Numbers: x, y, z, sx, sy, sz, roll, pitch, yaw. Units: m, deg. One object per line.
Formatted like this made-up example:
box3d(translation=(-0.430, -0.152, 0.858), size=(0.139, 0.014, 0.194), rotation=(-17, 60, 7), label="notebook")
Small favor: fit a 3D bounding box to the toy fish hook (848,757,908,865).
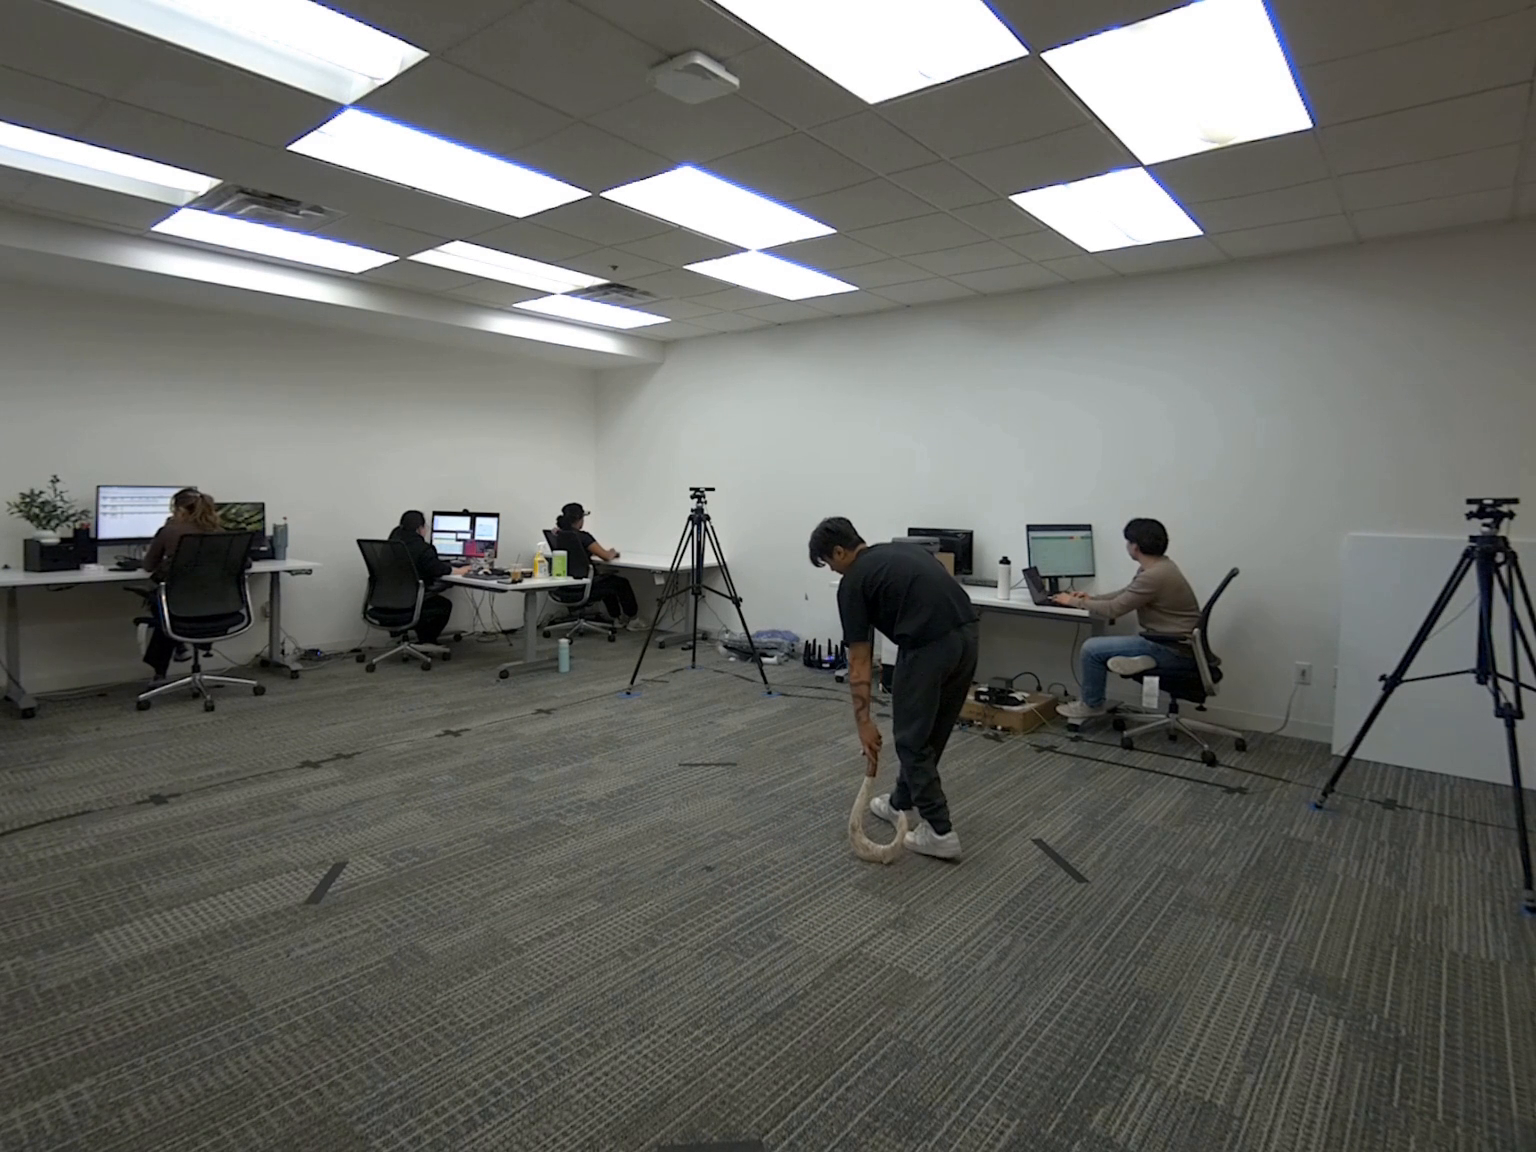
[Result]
box3d(translation=(0.426, 0.838, 3.285), size=(0.229, 0.515, 0.046), rotation=(-1, -21, 20), label="toy fish hook")
